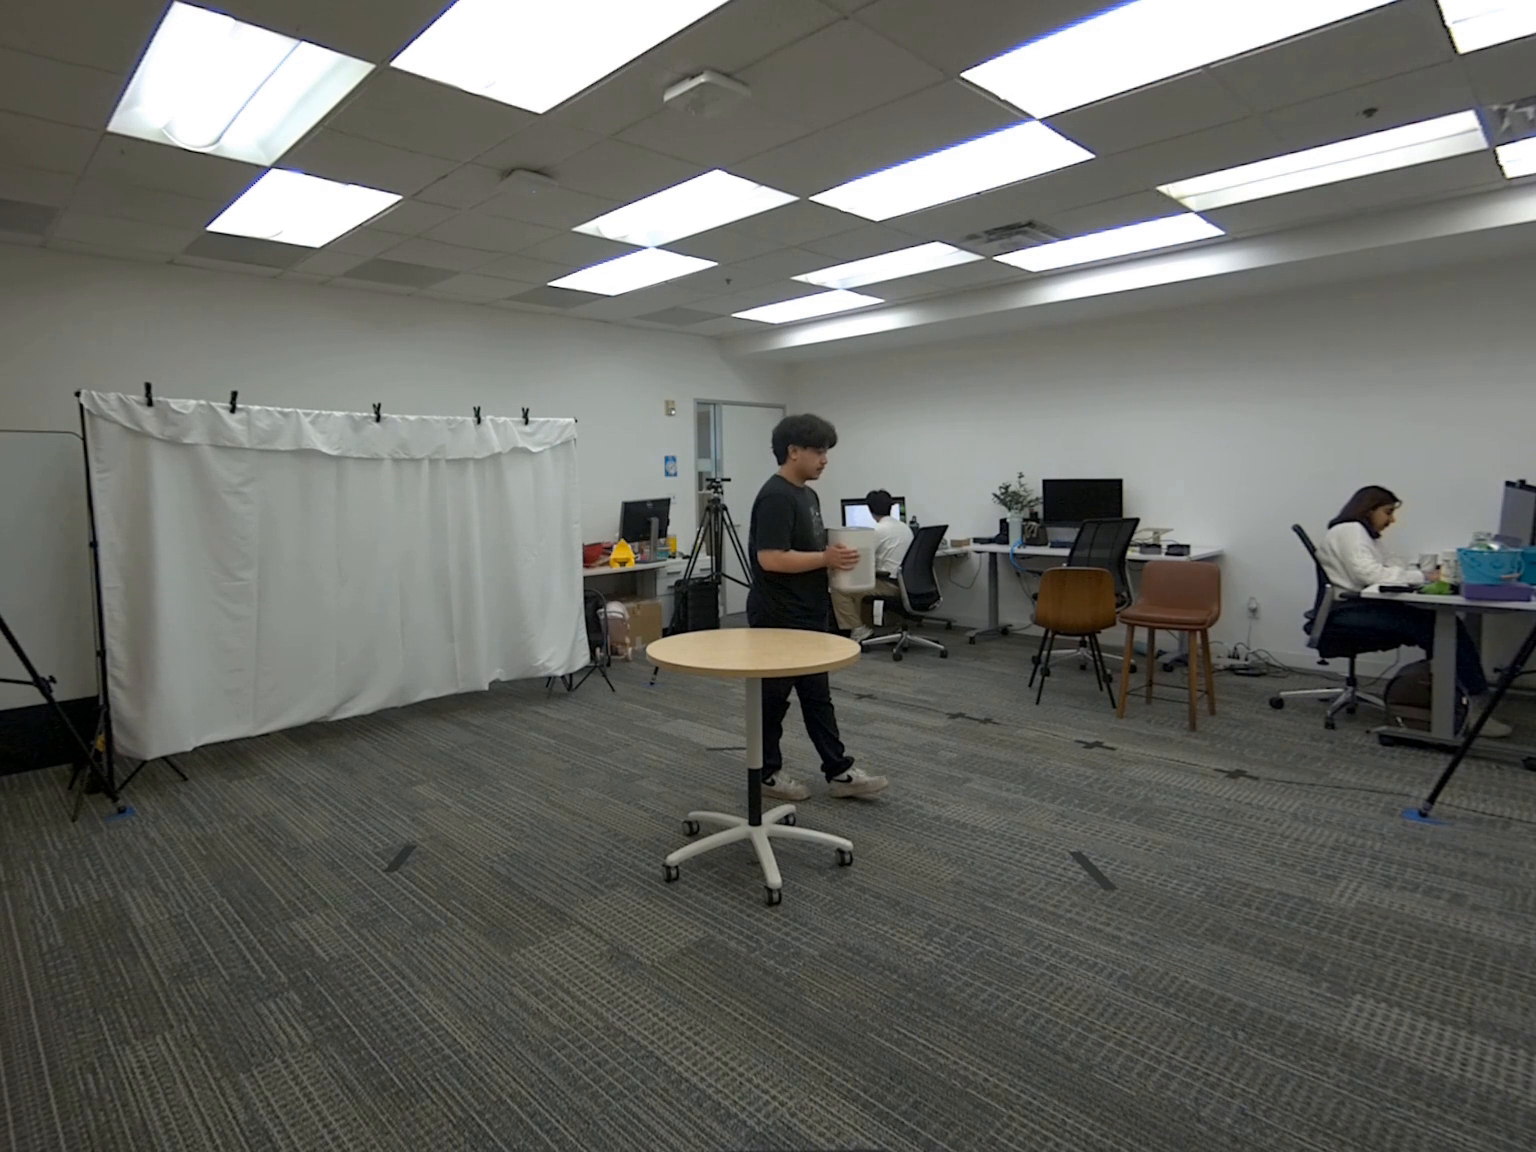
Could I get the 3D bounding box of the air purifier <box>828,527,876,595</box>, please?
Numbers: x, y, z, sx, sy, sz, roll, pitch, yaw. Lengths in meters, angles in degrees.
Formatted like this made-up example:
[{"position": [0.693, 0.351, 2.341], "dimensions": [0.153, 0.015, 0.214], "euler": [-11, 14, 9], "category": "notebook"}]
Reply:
[{"position": [0.350, -0.070, 3.570], "dimensions": [0.169, 0.263, 0.175], "euler": [-4, 9, -19], "category": "air purifier"}]
